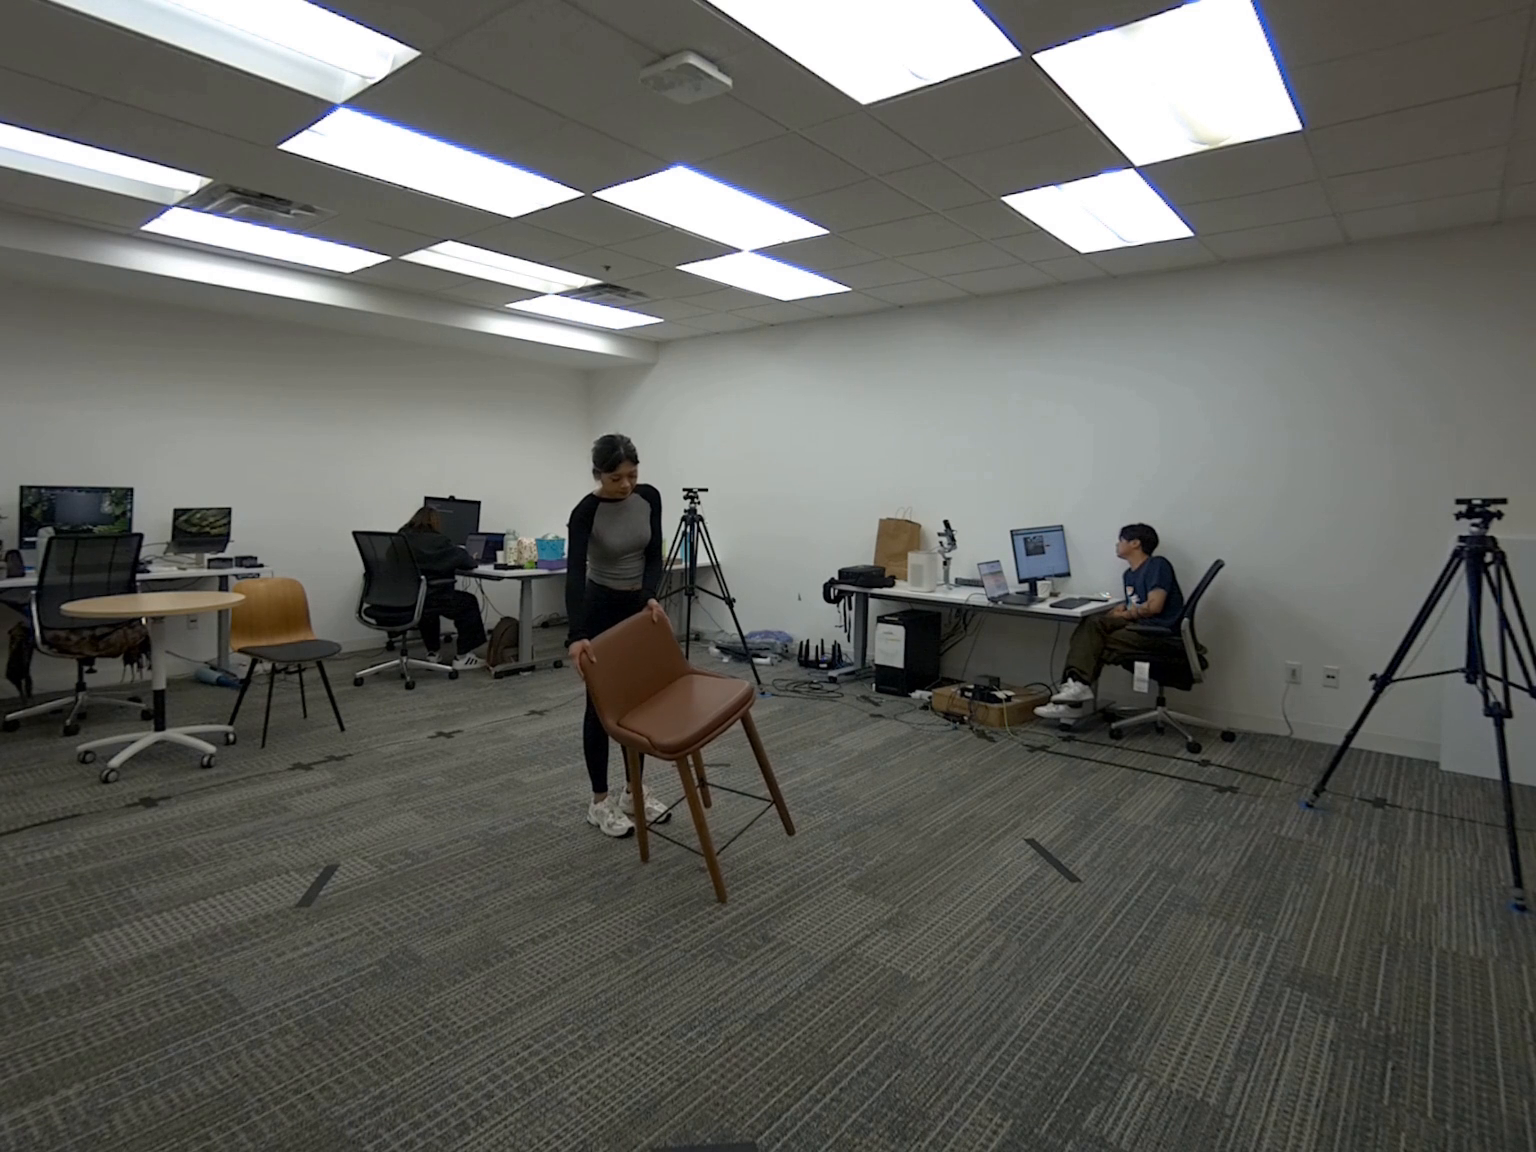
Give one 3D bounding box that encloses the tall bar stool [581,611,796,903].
[{"bbox_3d":[-0.302,0.599,3.030,0.482,0.875,0.450,0,21,44],"label":"tall bar stool"}]
